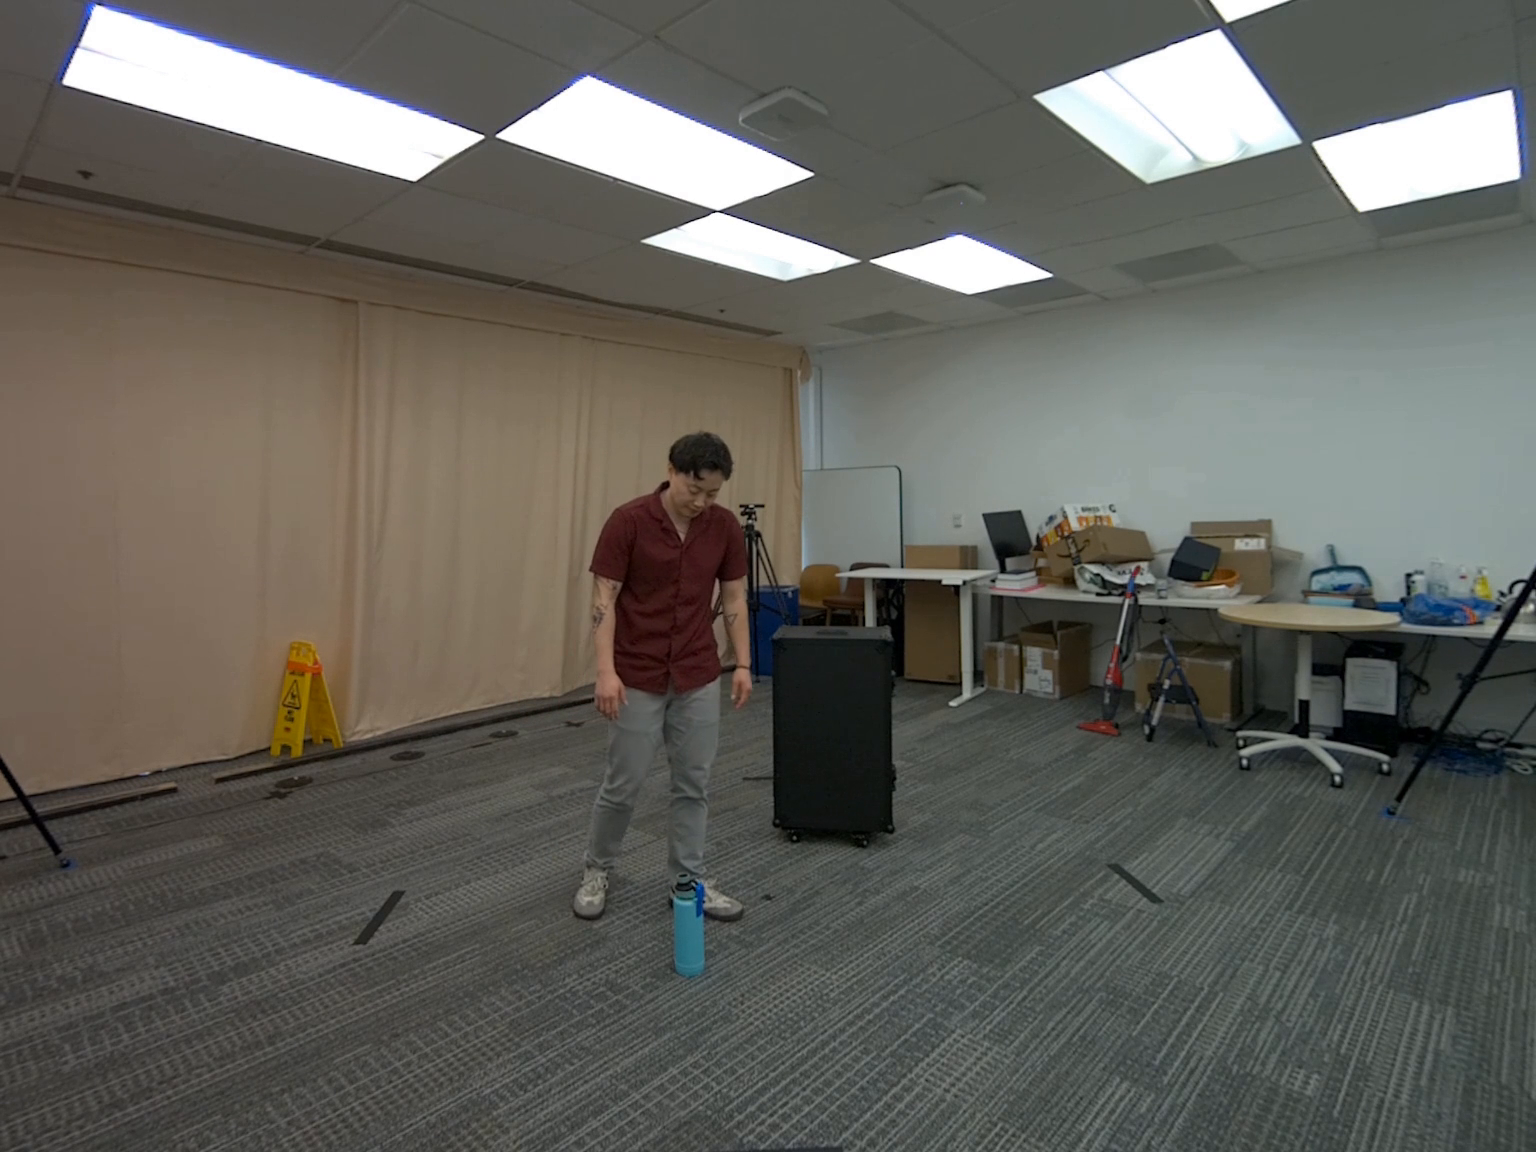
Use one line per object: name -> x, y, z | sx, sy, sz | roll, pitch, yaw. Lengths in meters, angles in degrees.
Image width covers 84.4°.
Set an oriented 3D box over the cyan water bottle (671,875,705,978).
cyan water bottle -> -0.228, 1.038, 2.532 | 0.092, 0.283, 0.092 | 0, 0, -2
